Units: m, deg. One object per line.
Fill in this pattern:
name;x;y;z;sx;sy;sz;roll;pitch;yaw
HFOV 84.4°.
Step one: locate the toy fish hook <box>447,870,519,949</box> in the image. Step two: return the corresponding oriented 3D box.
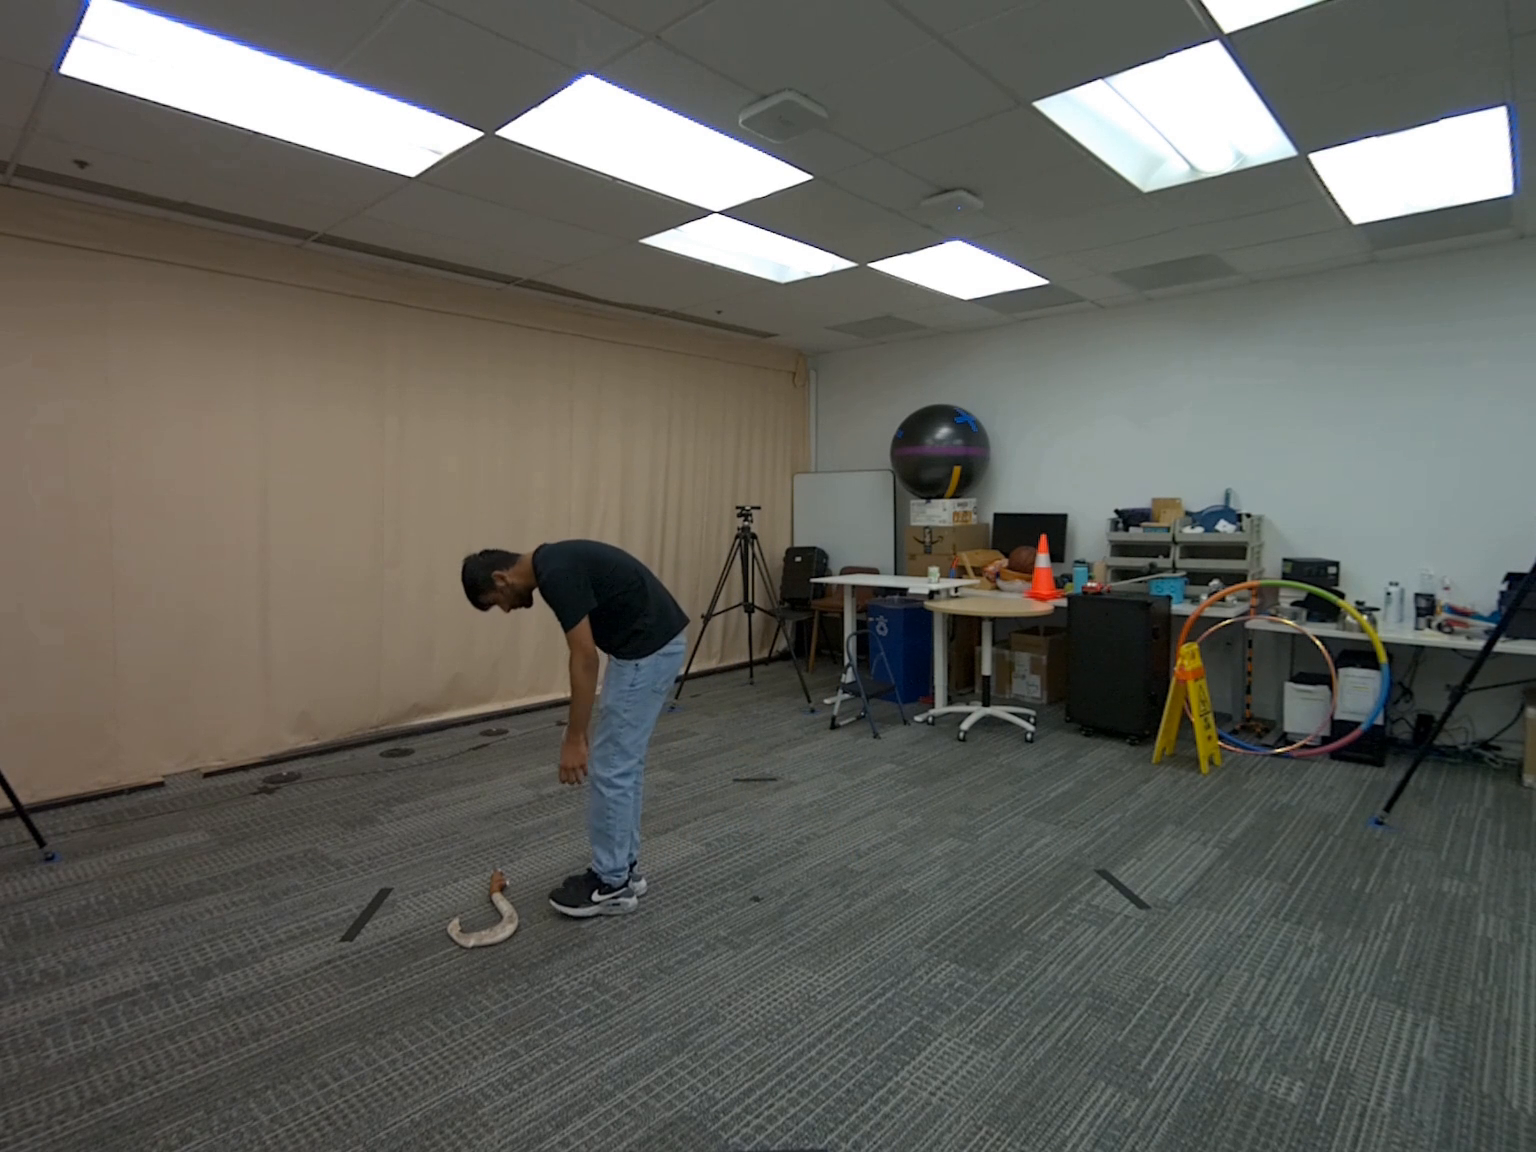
toy fish hook;-0.984;1.139;2.895;0.220;0.048;0.517;-1;4;-19
